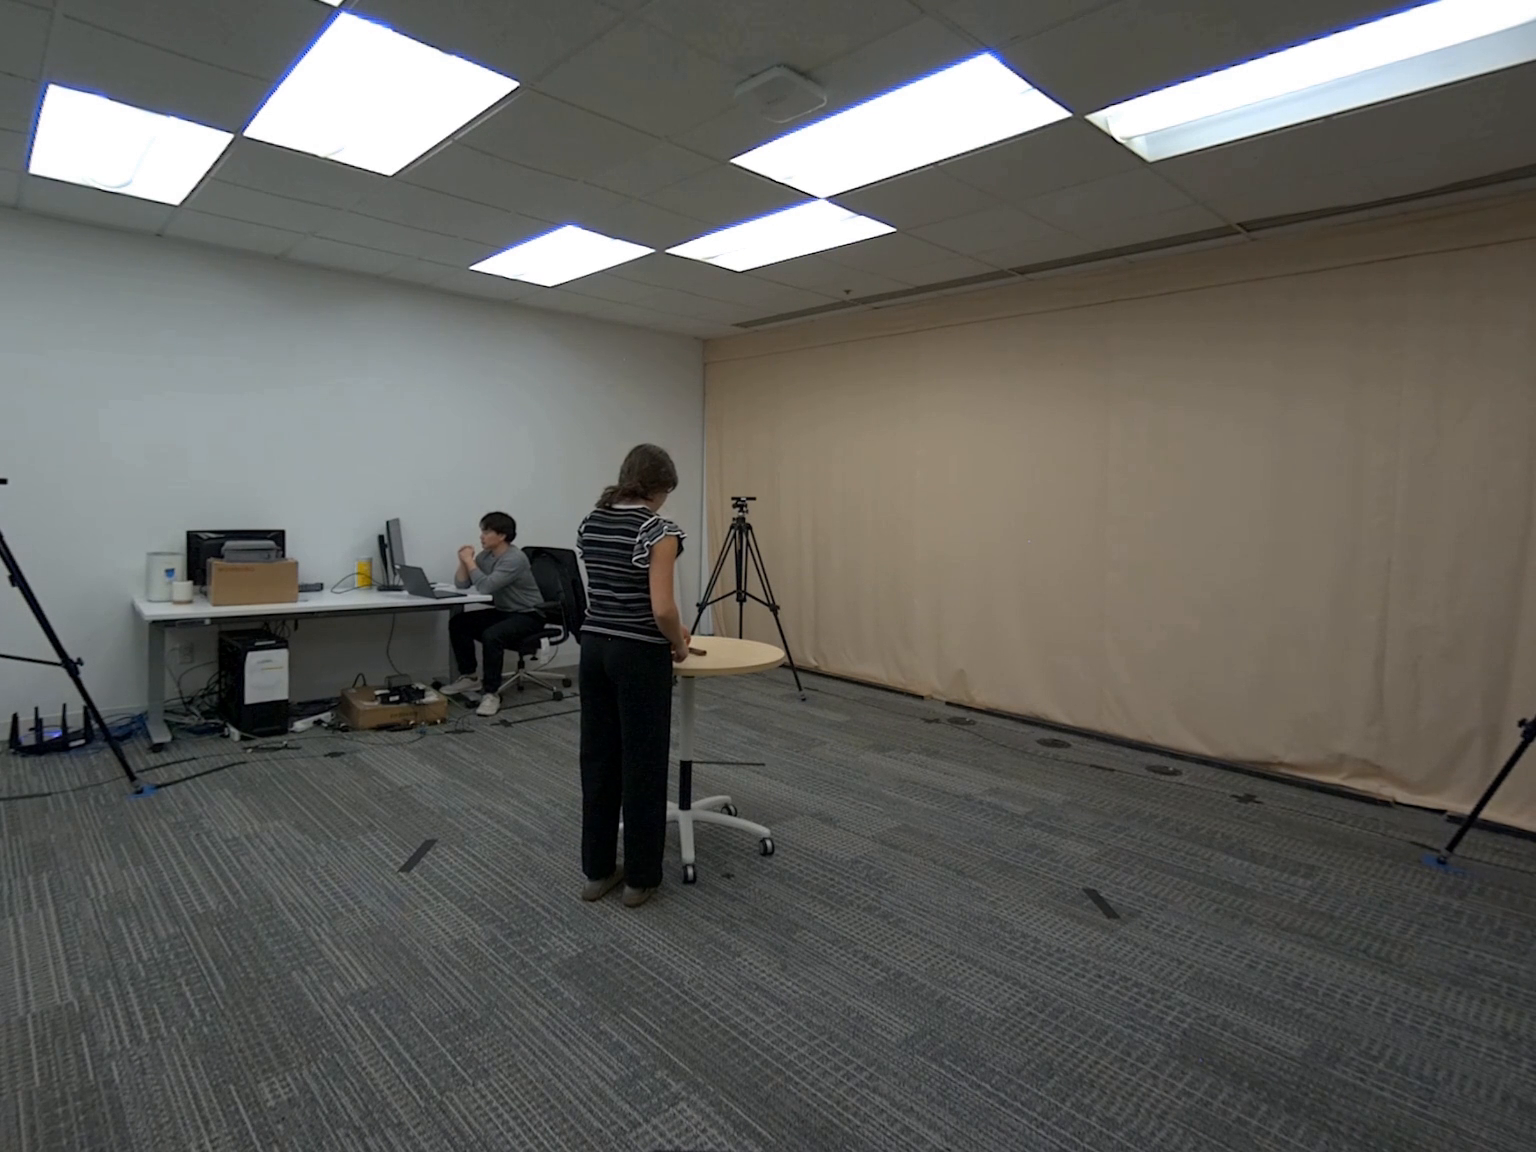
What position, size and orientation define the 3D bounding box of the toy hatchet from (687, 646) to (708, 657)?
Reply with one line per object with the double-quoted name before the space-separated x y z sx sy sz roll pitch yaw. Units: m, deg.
"toy hatchet" -0.373 0.288 3.310 0.128 0.029 0.277 4 2 -45
